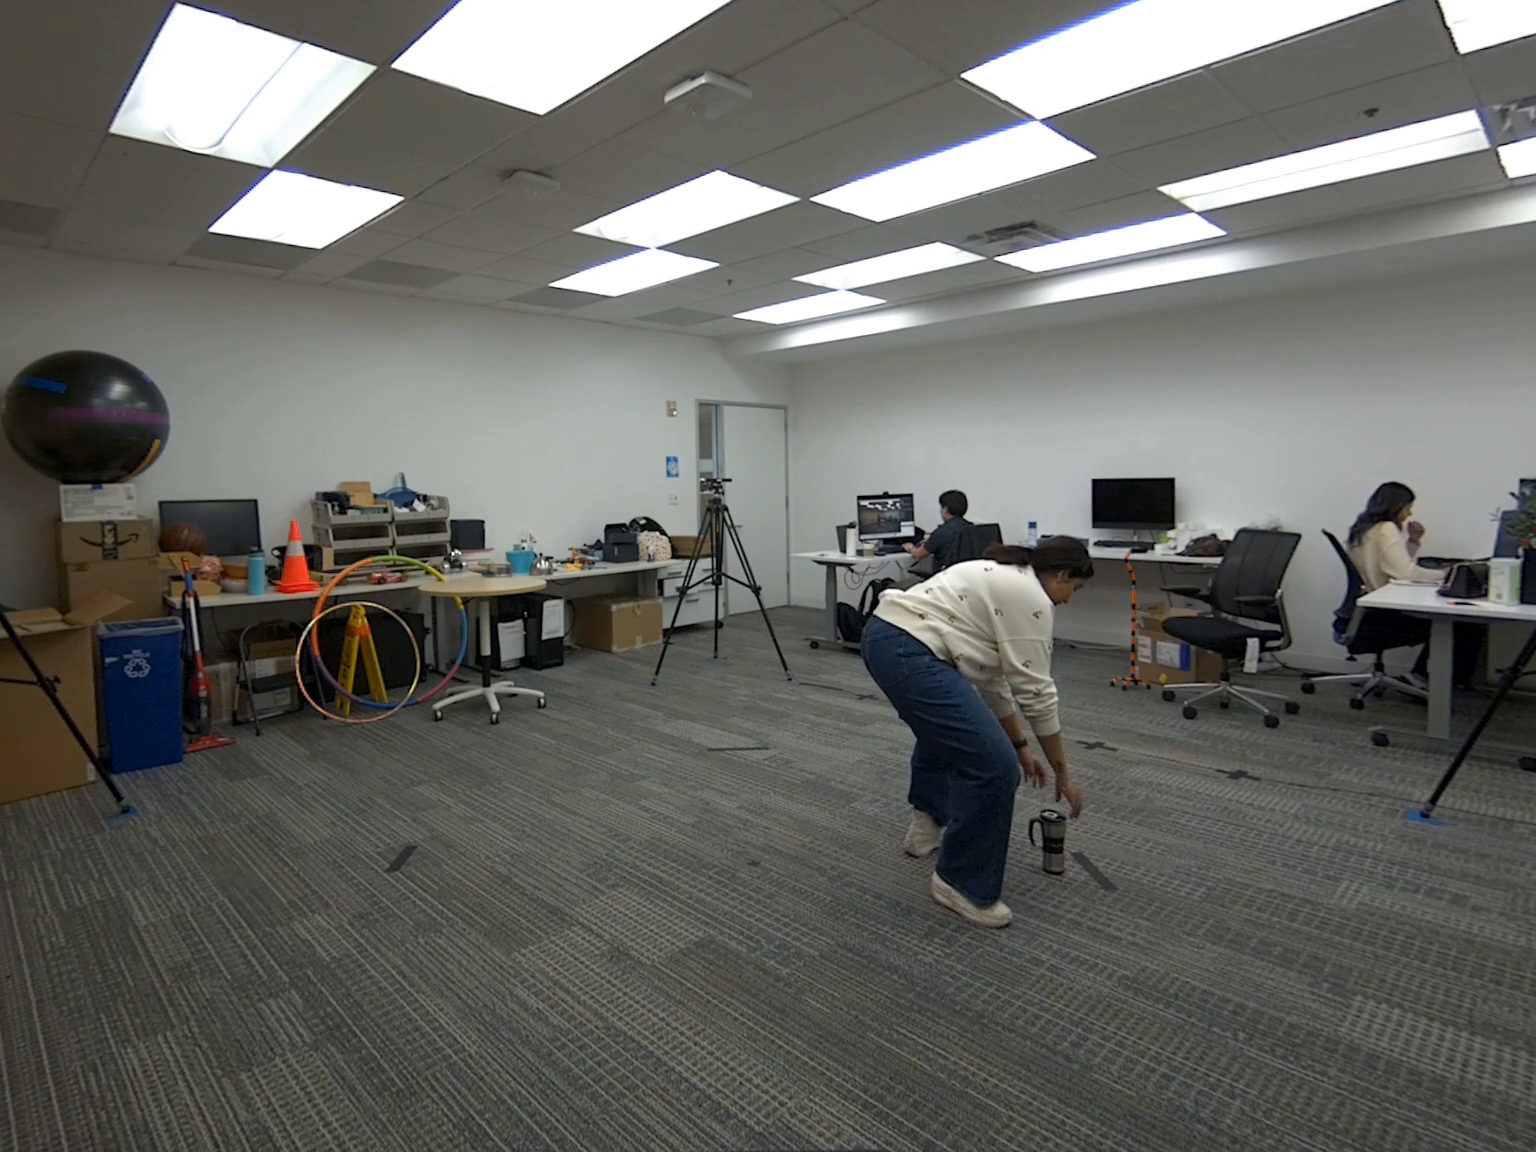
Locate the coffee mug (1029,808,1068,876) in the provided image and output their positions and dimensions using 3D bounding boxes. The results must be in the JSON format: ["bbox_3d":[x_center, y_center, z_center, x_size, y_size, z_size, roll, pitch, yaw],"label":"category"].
[{"bbox_3d":[0.996,0.939,3.015,0.126,0.201,0.086,7,11,40],"label":"coffee mug"}]
